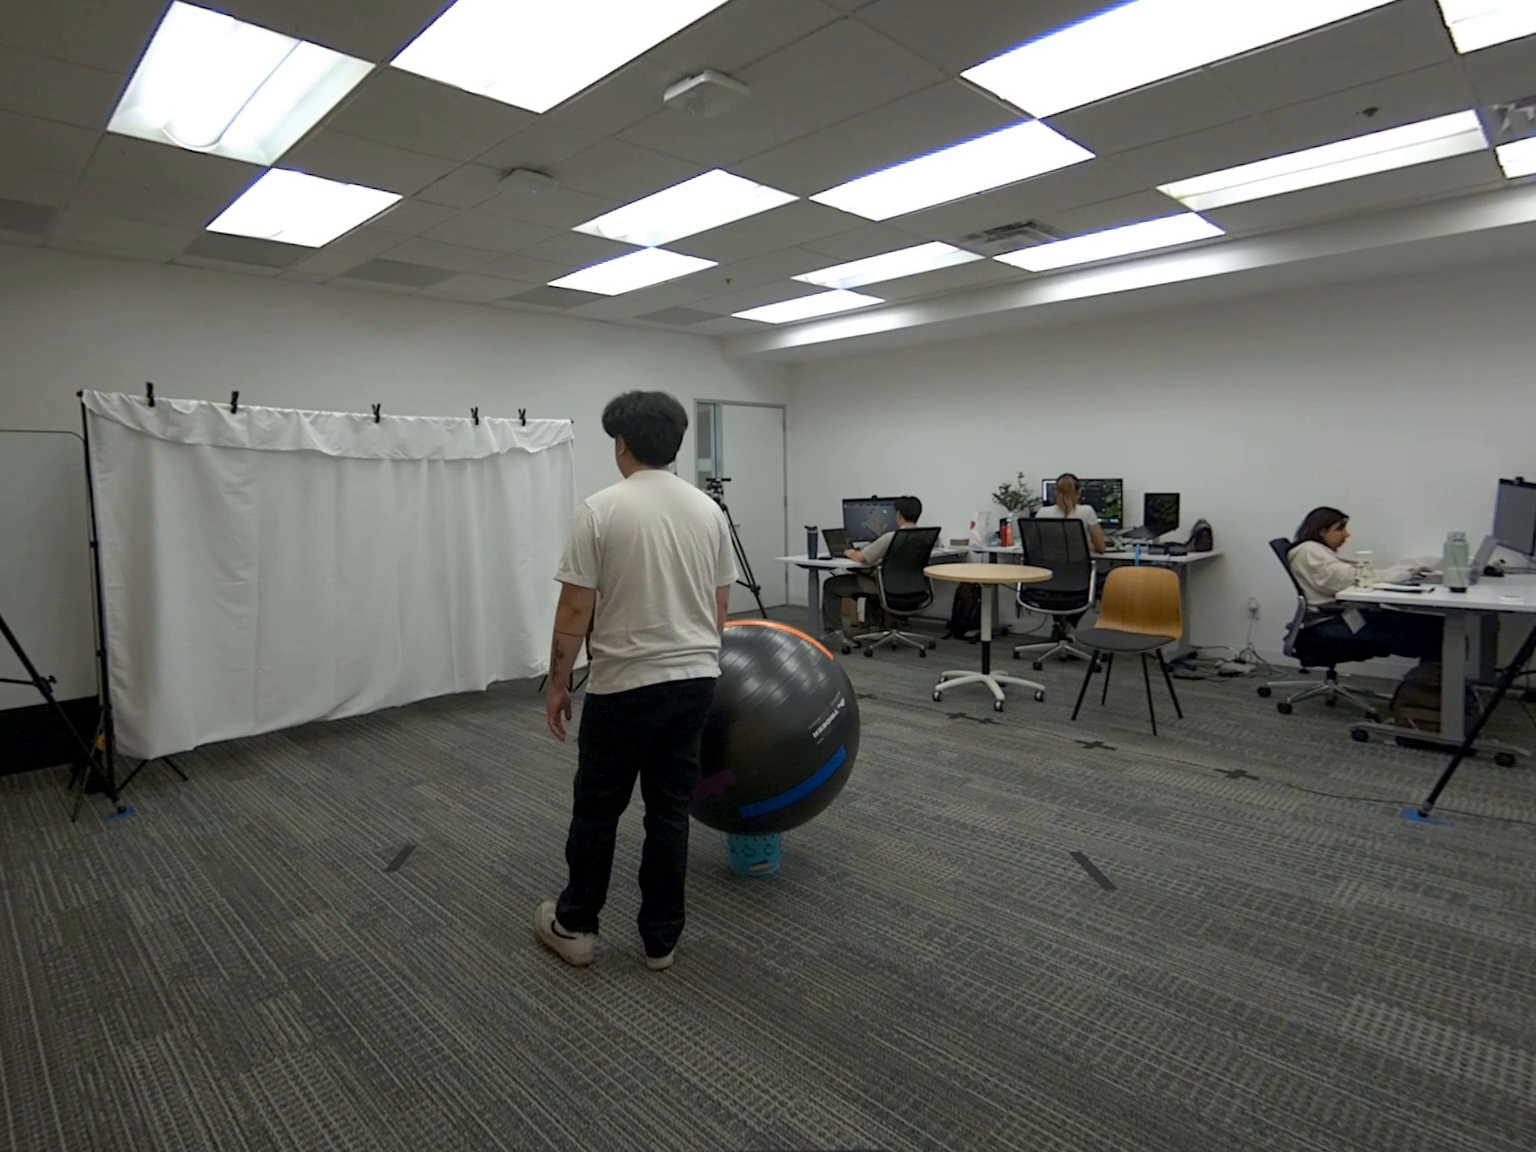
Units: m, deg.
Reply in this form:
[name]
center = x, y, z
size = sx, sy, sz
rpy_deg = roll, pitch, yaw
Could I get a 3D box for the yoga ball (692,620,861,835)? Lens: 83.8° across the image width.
[yoga ball]
center = -0.051, 0.536, 3.062
size = 0.757, 0.755, 0.762
rpy_deg = -1, 5, -2
